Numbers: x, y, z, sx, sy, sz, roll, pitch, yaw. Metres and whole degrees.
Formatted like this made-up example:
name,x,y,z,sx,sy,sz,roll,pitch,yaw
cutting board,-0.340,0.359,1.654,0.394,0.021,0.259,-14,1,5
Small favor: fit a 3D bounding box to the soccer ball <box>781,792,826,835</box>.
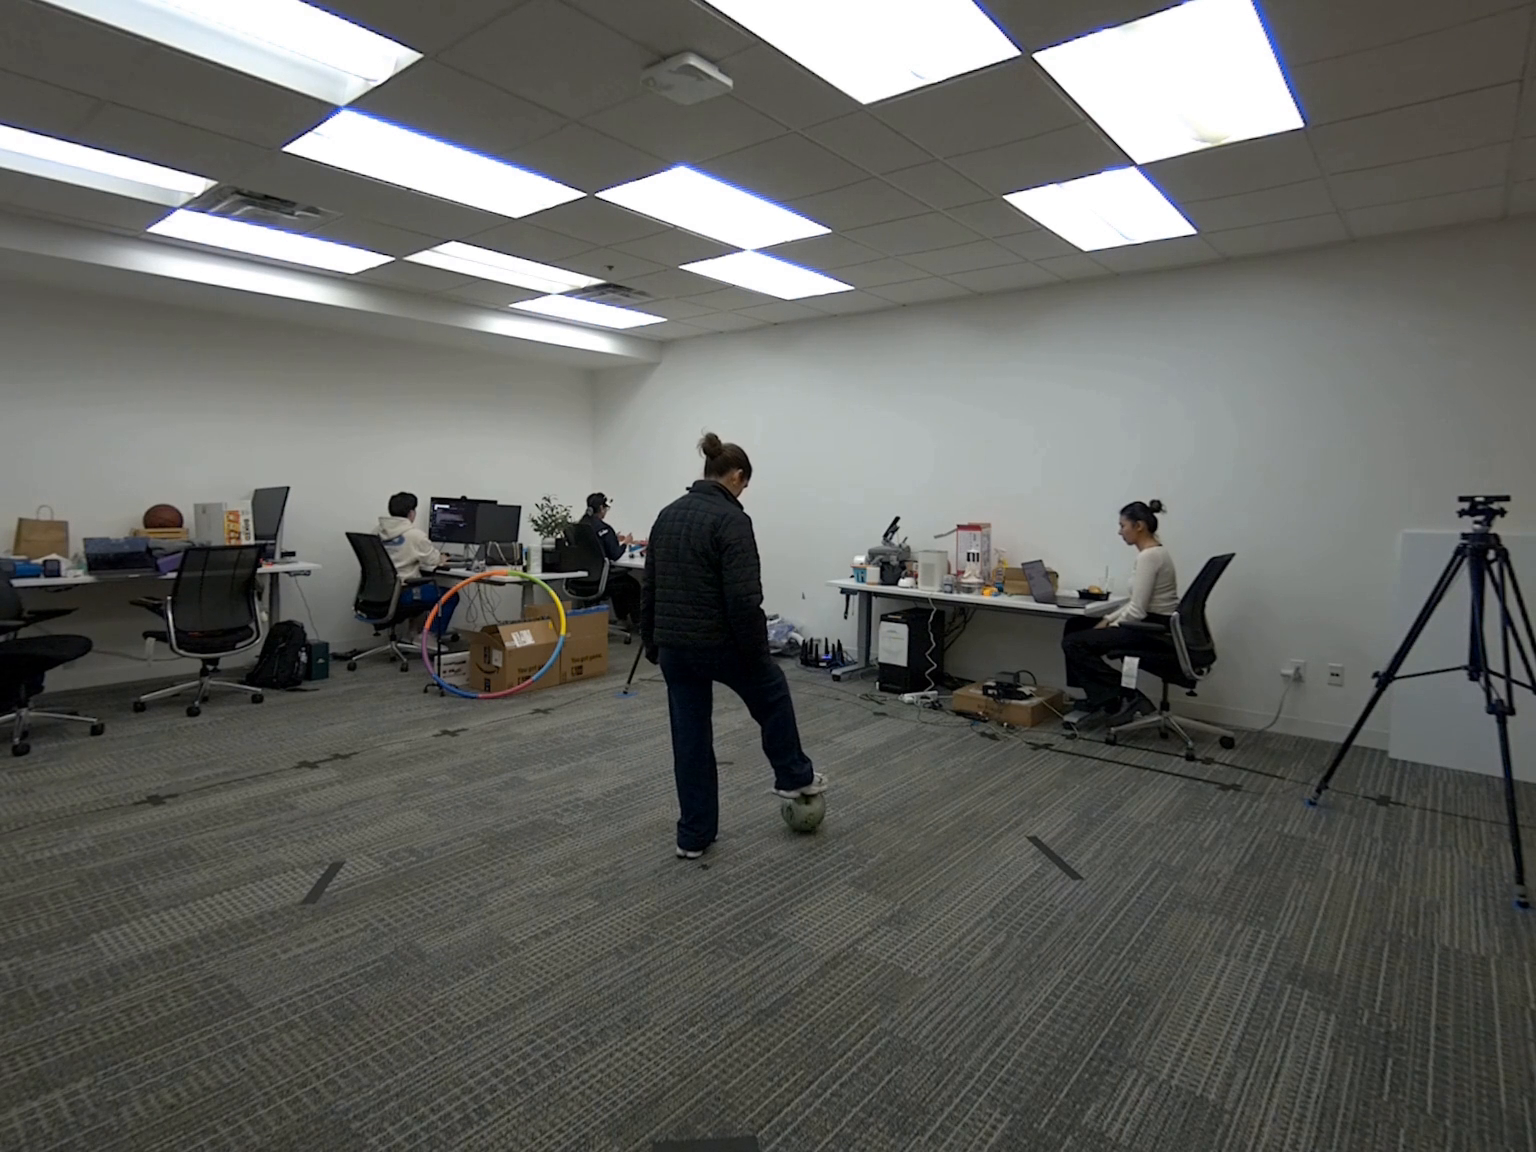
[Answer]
name,x,y,z,sx,sy,sz,roll,pitch,yaw
soccer ball,0.134,0.941,3.475,0.187,0.187,0.188,1,4,-2
